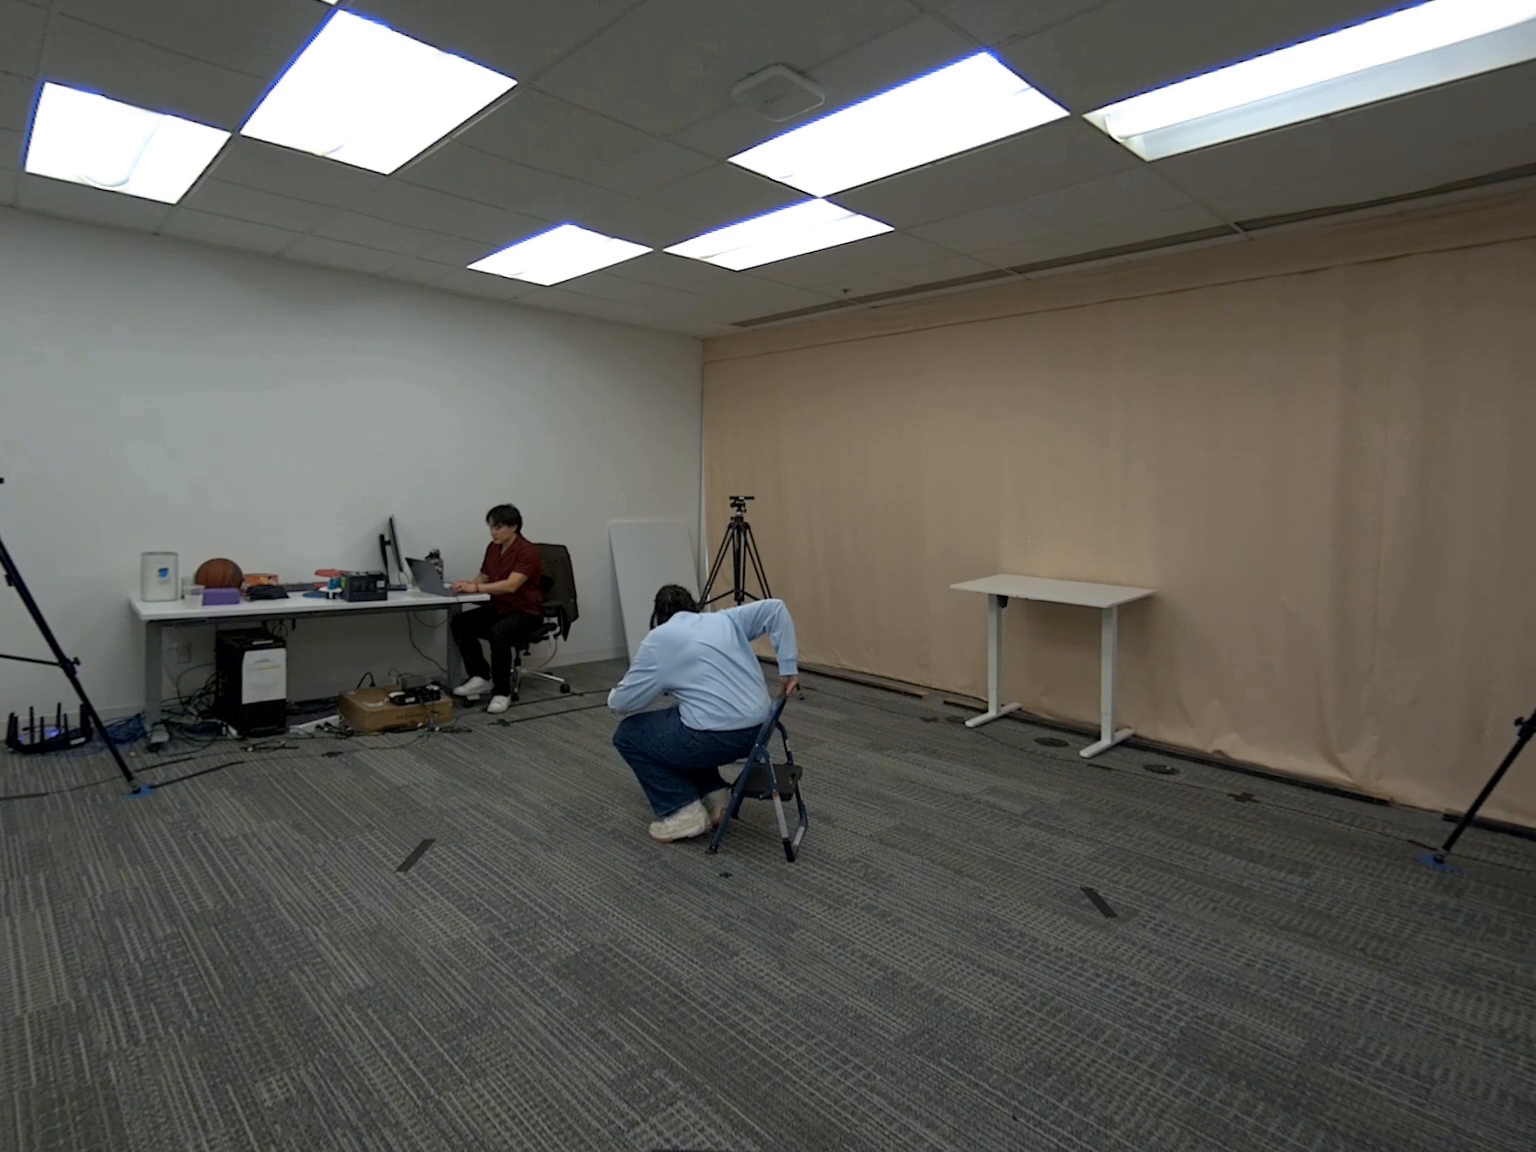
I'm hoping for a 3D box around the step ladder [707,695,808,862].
[{"bbox_3d":[-0.030,0.778,3.437,0.352,0.604,0.428,1,5,10],"label":"step ladder"}]
